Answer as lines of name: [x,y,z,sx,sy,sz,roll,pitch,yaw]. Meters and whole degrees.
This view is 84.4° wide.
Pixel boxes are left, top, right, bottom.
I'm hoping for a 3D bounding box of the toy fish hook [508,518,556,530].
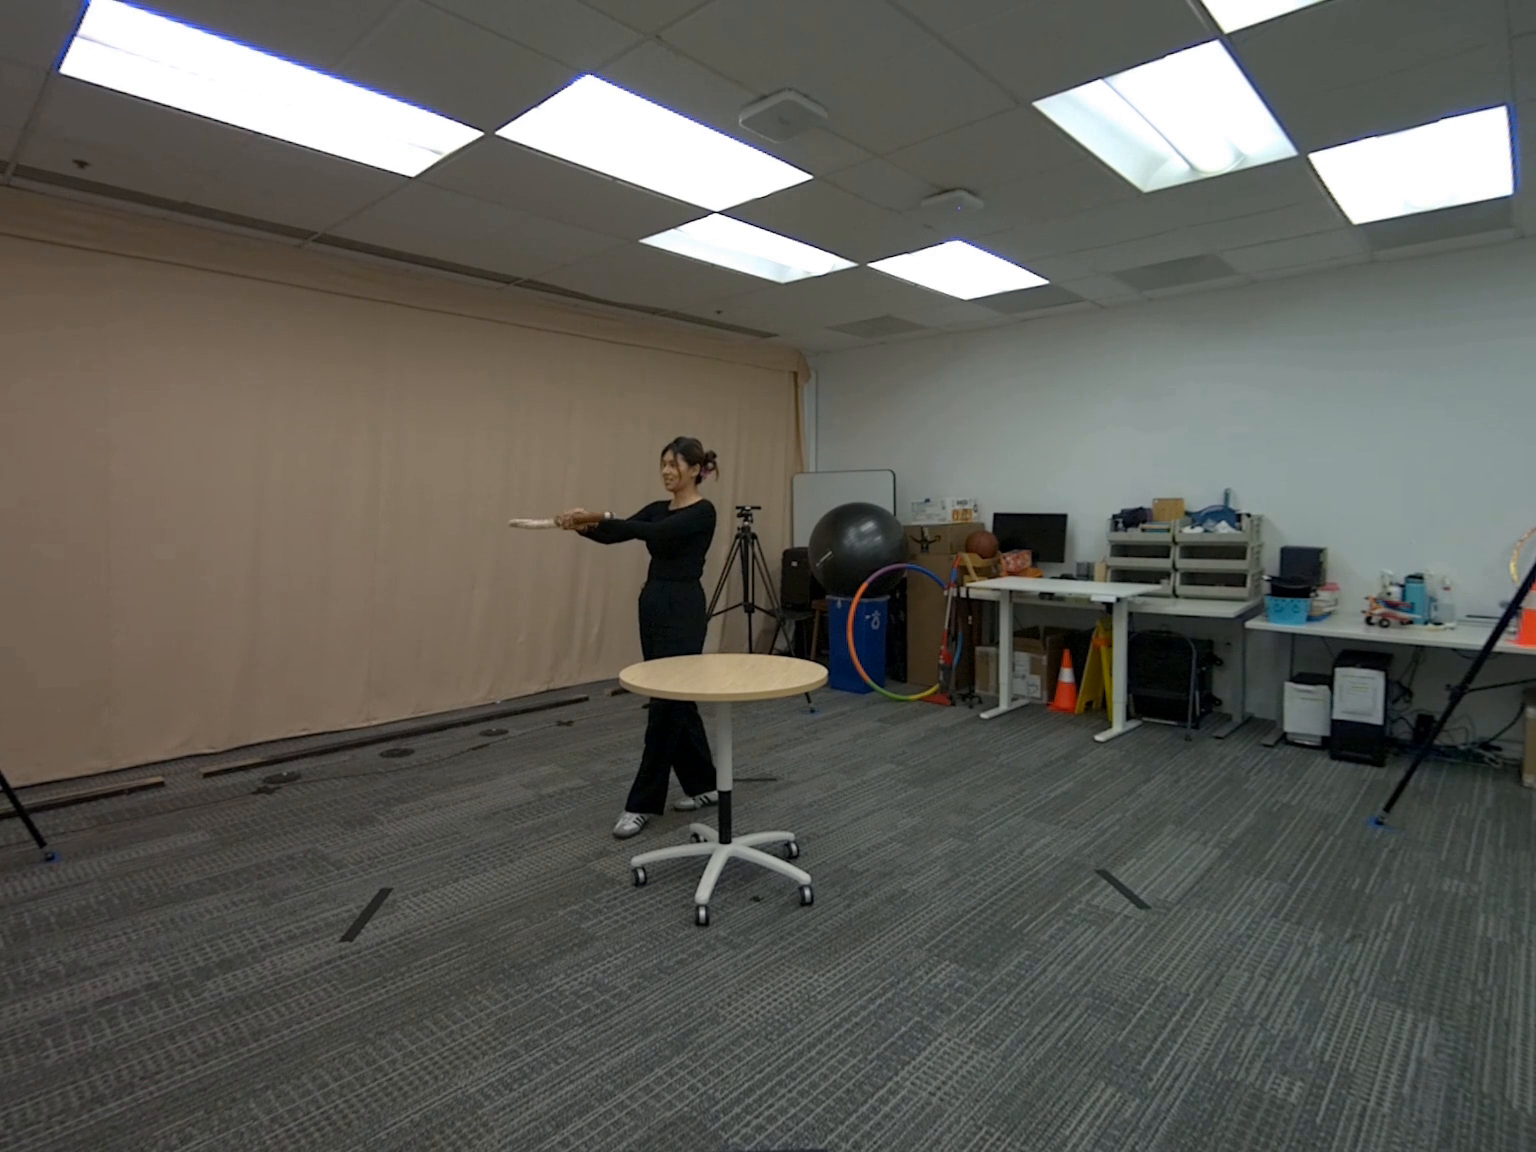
toy fish hook: [-0.842,-0.224,3.368,0.521,0.048,0.218,-4,0,36]
